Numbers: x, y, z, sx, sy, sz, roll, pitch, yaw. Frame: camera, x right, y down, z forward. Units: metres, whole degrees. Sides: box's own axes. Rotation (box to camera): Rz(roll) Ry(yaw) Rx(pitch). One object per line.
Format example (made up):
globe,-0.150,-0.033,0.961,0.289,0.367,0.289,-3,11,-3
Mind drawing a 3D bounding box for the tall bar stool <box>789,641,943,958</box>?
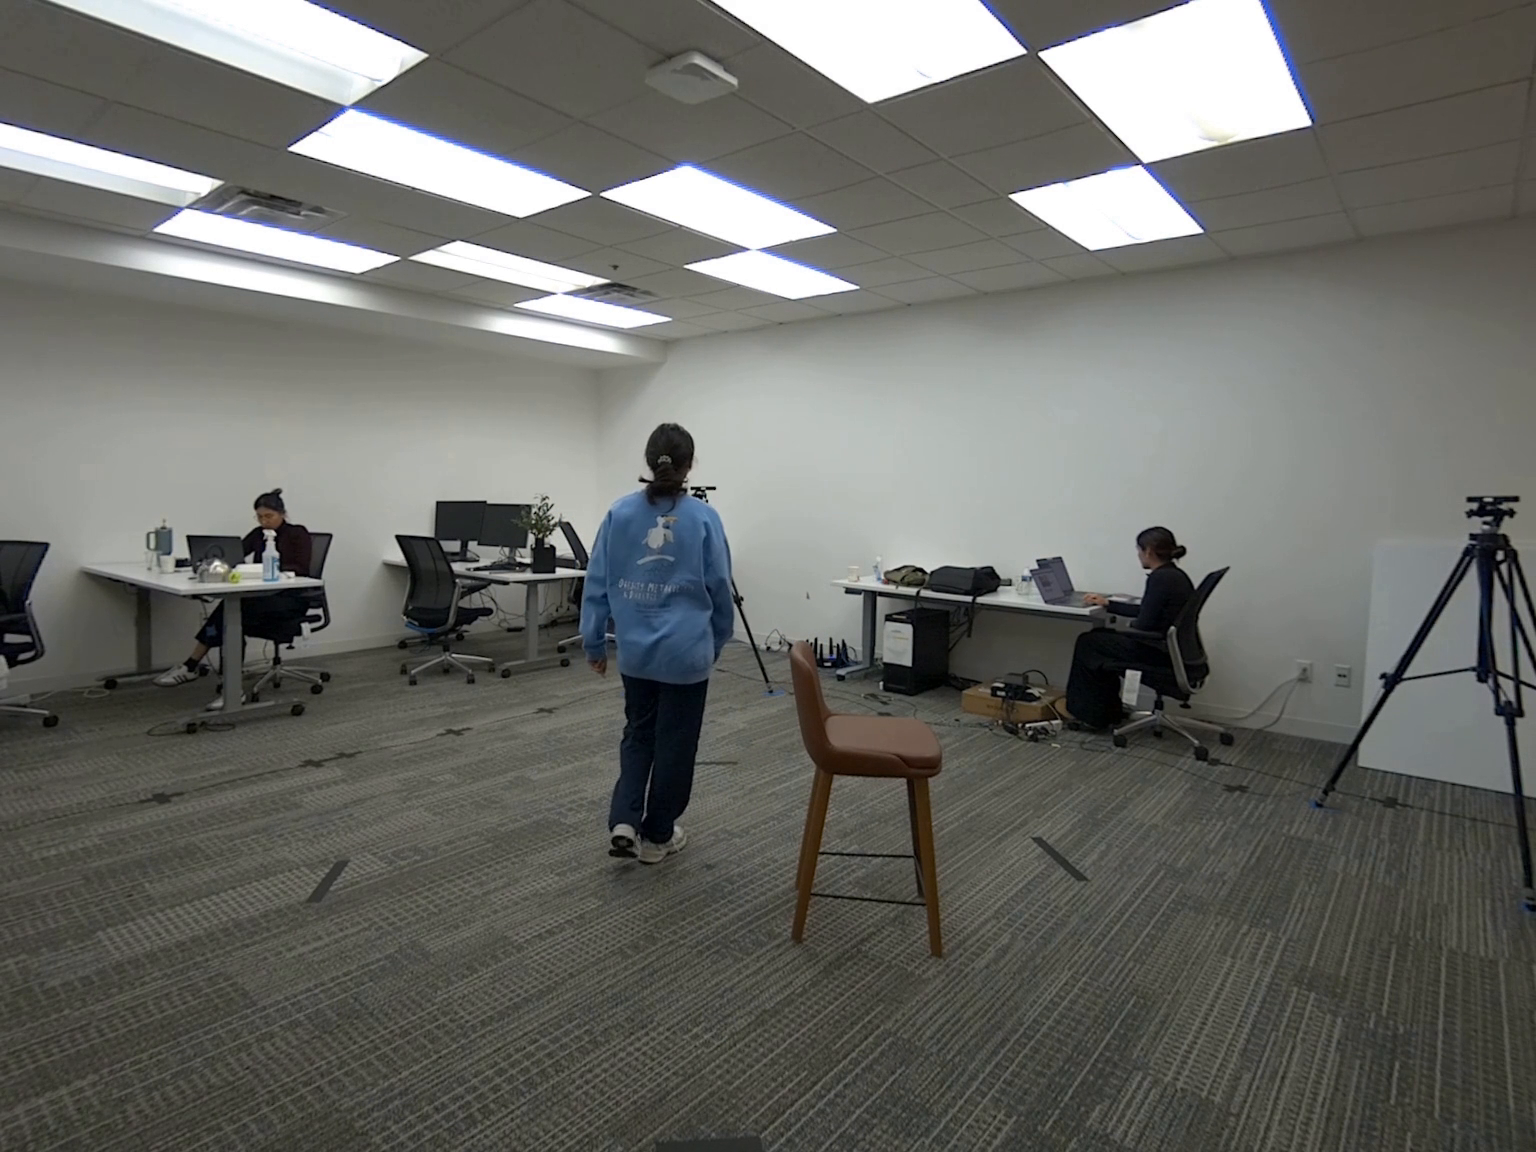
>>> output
tall bar stool,0.310,0.678,2.747,0.471,0.887,0.454,0,3,6
